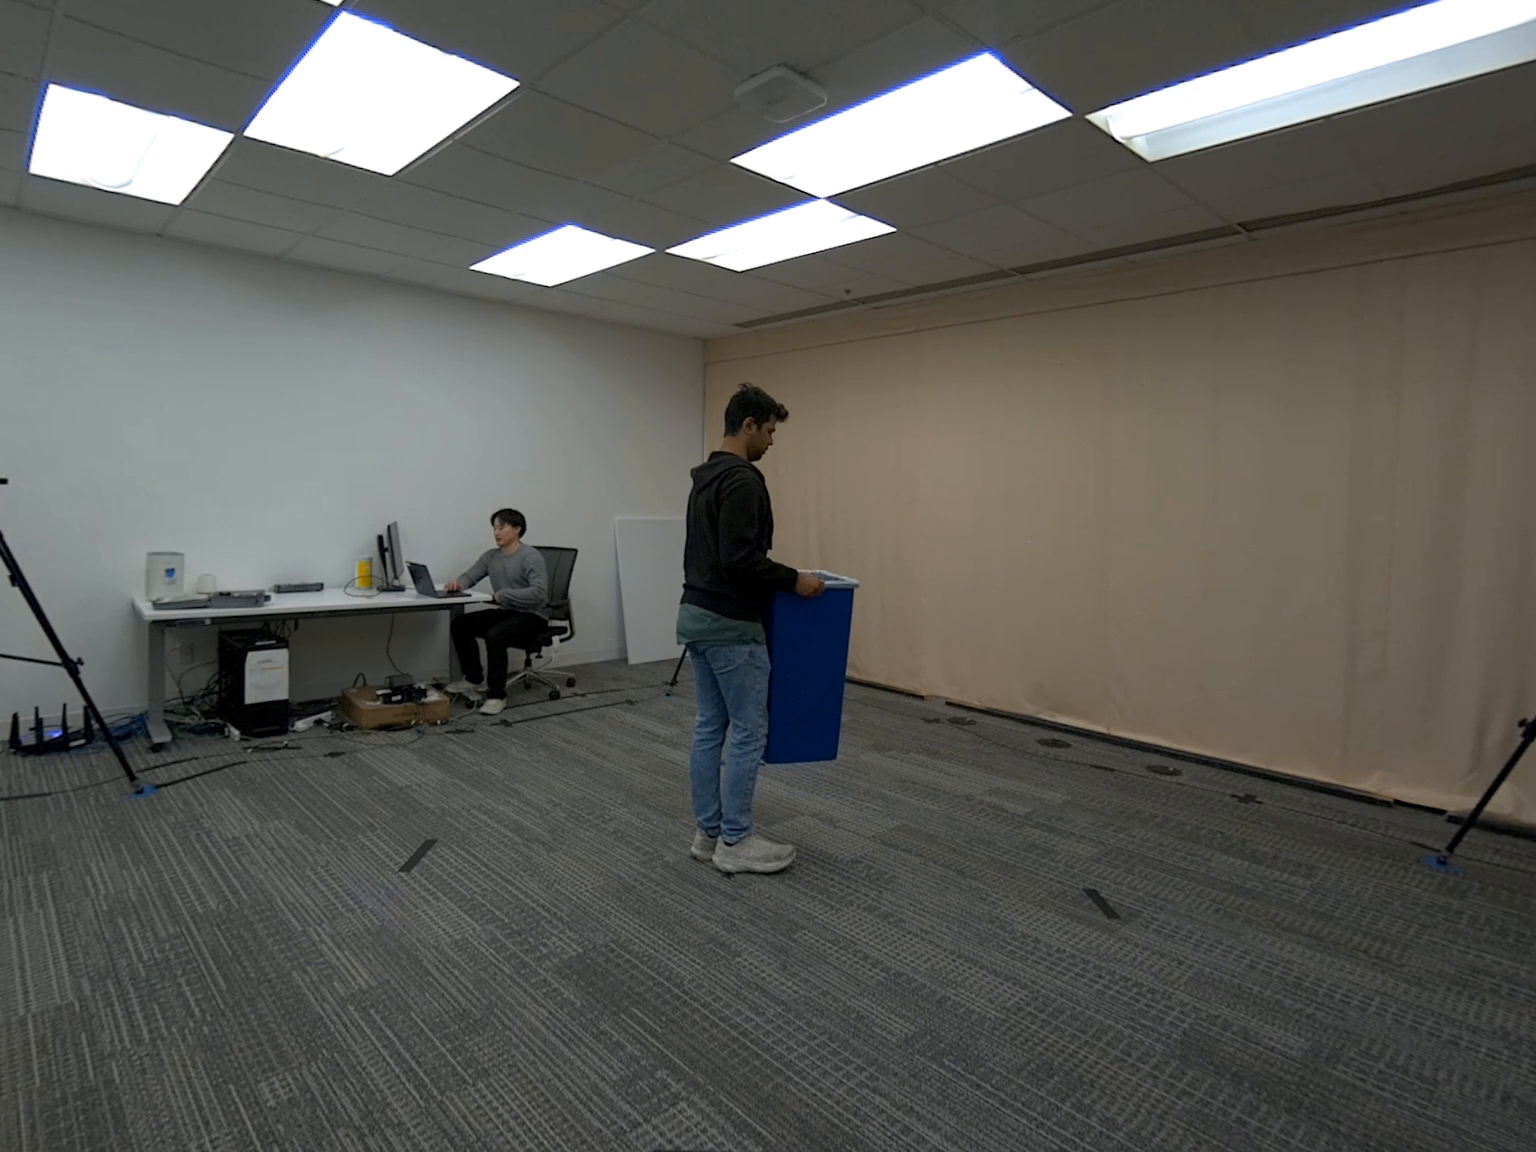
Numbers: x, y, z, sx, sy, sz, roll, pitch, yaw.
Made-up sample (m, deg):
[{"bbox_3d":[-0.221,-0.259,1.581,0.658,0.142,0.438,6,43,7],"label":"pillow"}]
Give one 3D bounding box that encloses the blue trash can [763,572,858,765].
[{"bbox_3d":[0.104,0.354,3.368,0.372,0.711,0.381,1,5,-23],"label":"blue trash can"}]
